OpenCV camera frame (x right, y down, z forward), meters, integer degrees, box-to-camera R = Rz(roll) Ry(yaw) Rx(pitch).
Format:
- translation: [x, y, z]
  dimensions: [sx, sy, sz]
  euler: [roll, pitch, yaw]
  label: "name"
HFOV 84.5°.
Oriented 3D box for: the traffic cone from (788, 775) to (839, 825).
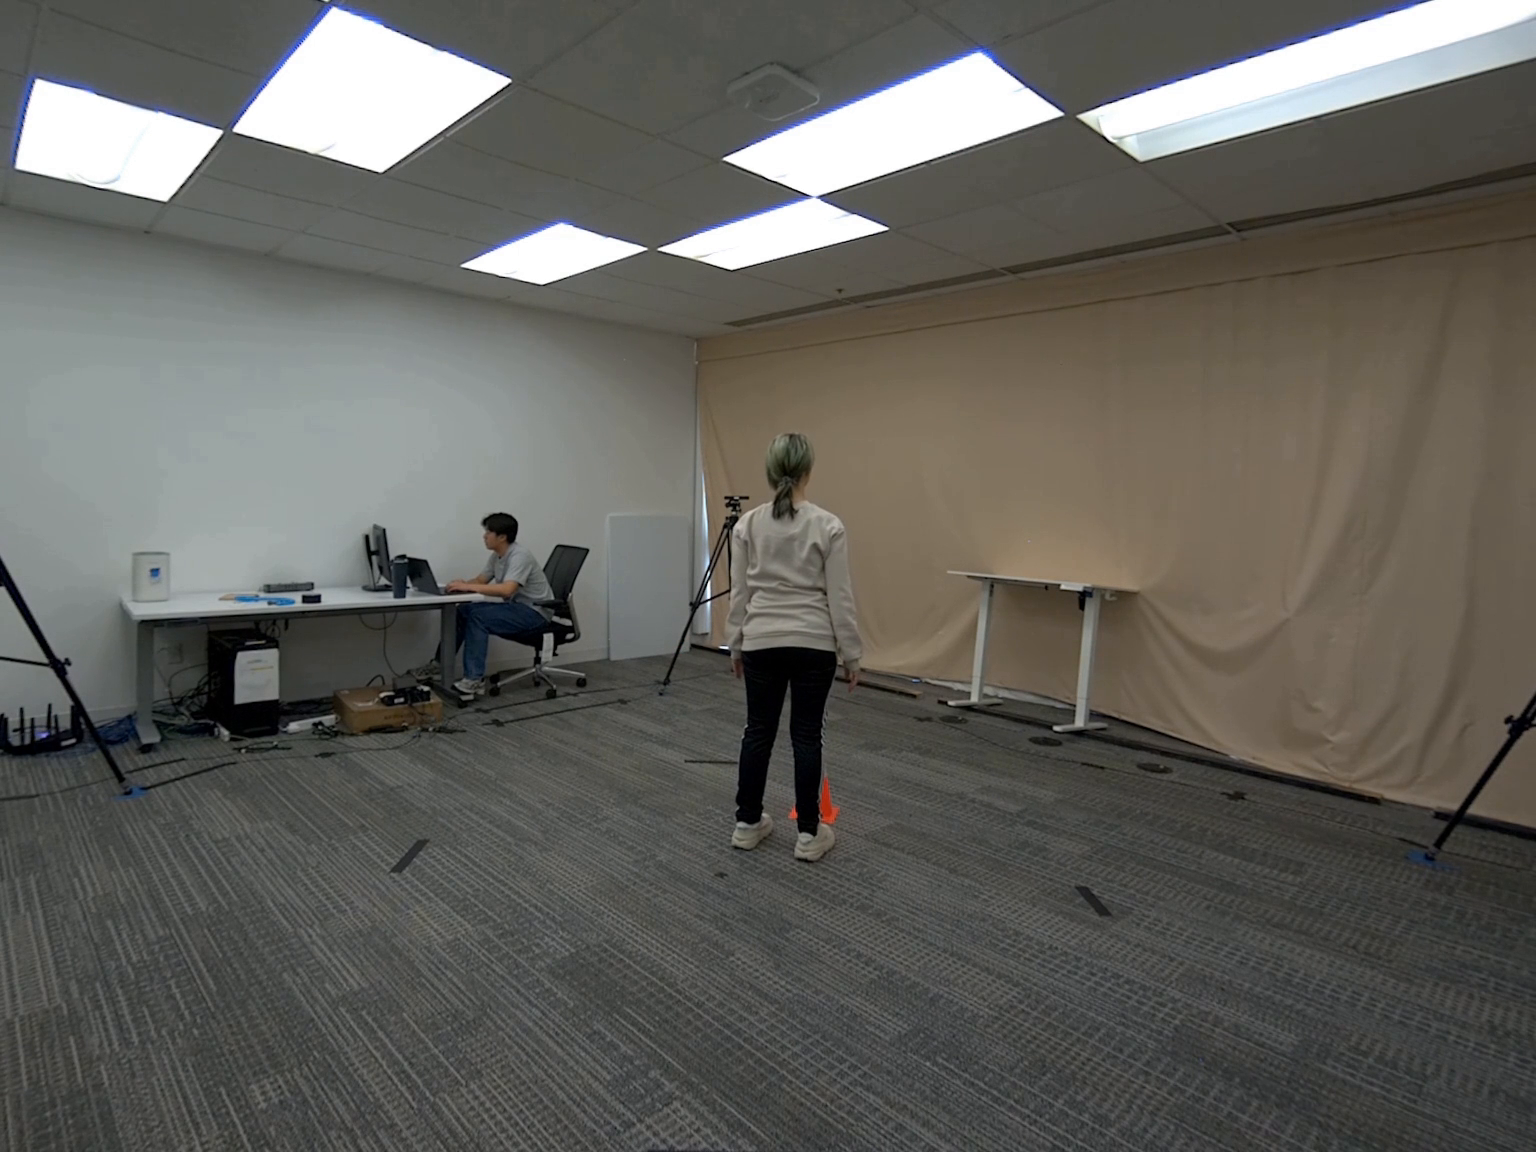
- translation: [0.197, 0.872, 3.752]
  dimensions: [0.204, 0.383, 0.204]
  euler: [0, 3, 7]
  label: "traffic cone"
